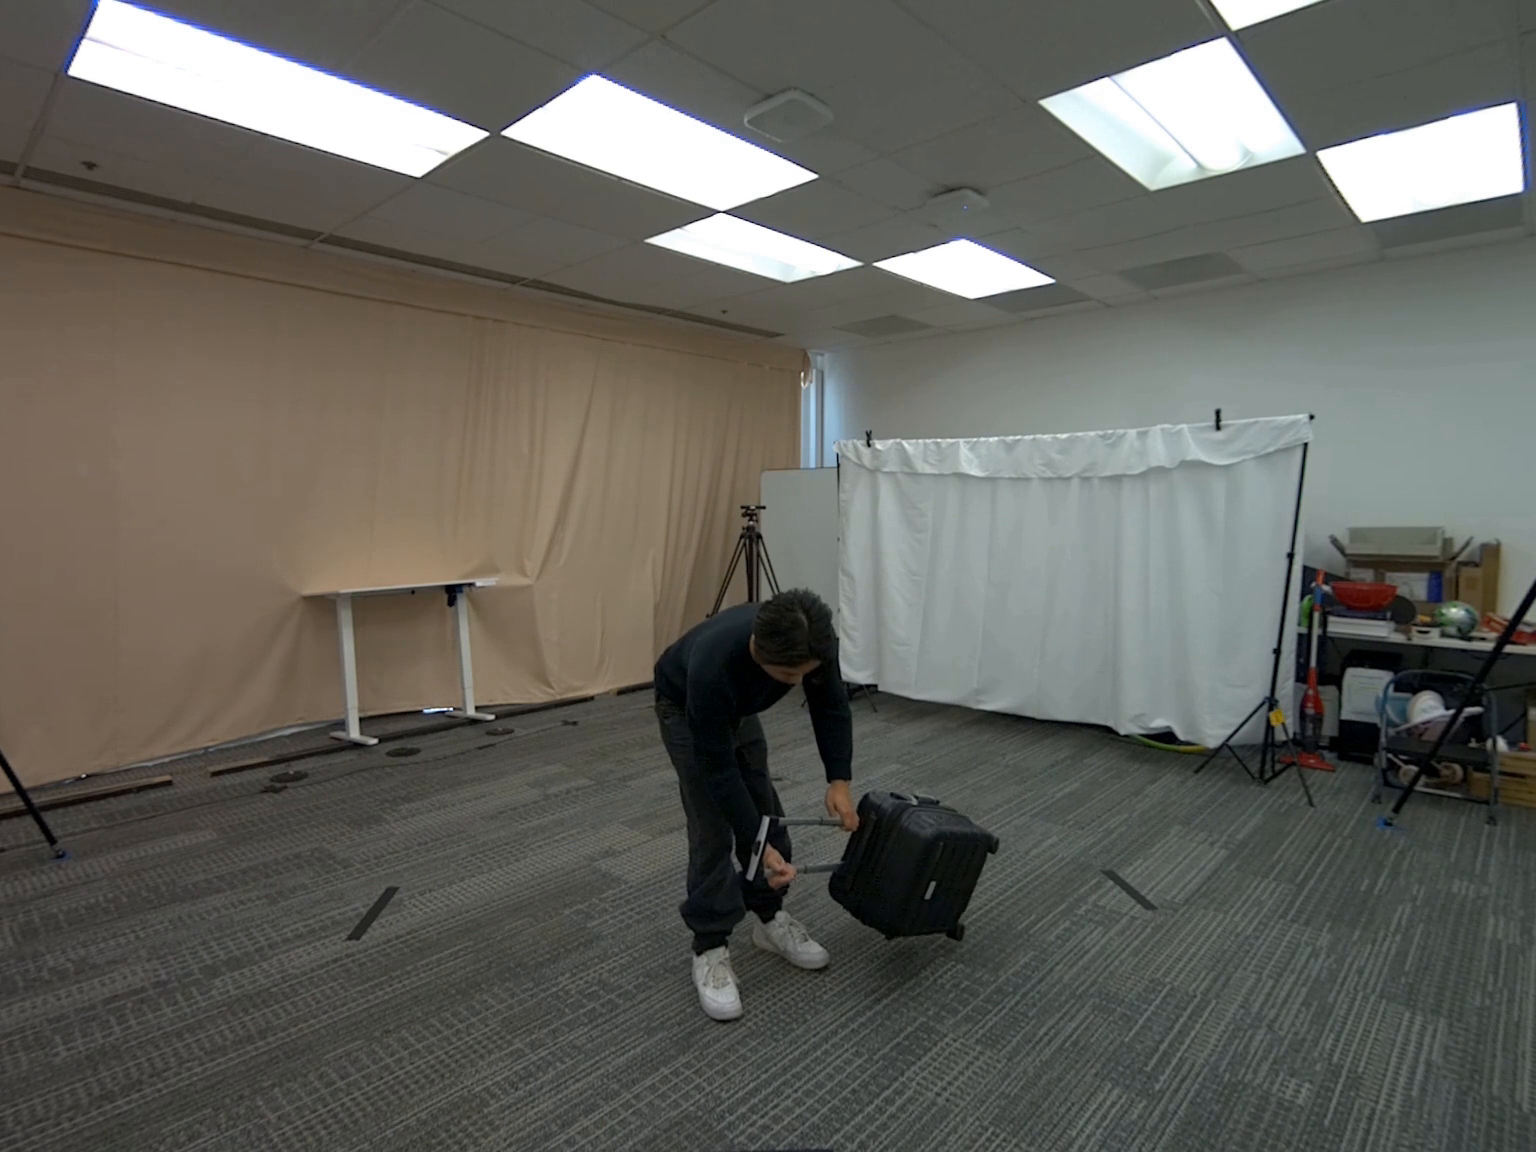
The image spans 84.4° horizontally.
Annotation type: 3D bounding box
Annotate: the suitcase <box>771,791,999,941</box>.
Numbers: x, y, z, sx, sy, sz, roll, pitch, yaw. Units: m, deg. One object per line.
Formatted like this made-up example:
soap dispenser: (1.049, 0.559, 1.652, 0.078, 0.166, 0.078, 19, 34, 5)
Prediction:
suitcase: (0.348, 0.819, 2.368, 0.266, 0.384, 0.943, 22, -3, 38)
